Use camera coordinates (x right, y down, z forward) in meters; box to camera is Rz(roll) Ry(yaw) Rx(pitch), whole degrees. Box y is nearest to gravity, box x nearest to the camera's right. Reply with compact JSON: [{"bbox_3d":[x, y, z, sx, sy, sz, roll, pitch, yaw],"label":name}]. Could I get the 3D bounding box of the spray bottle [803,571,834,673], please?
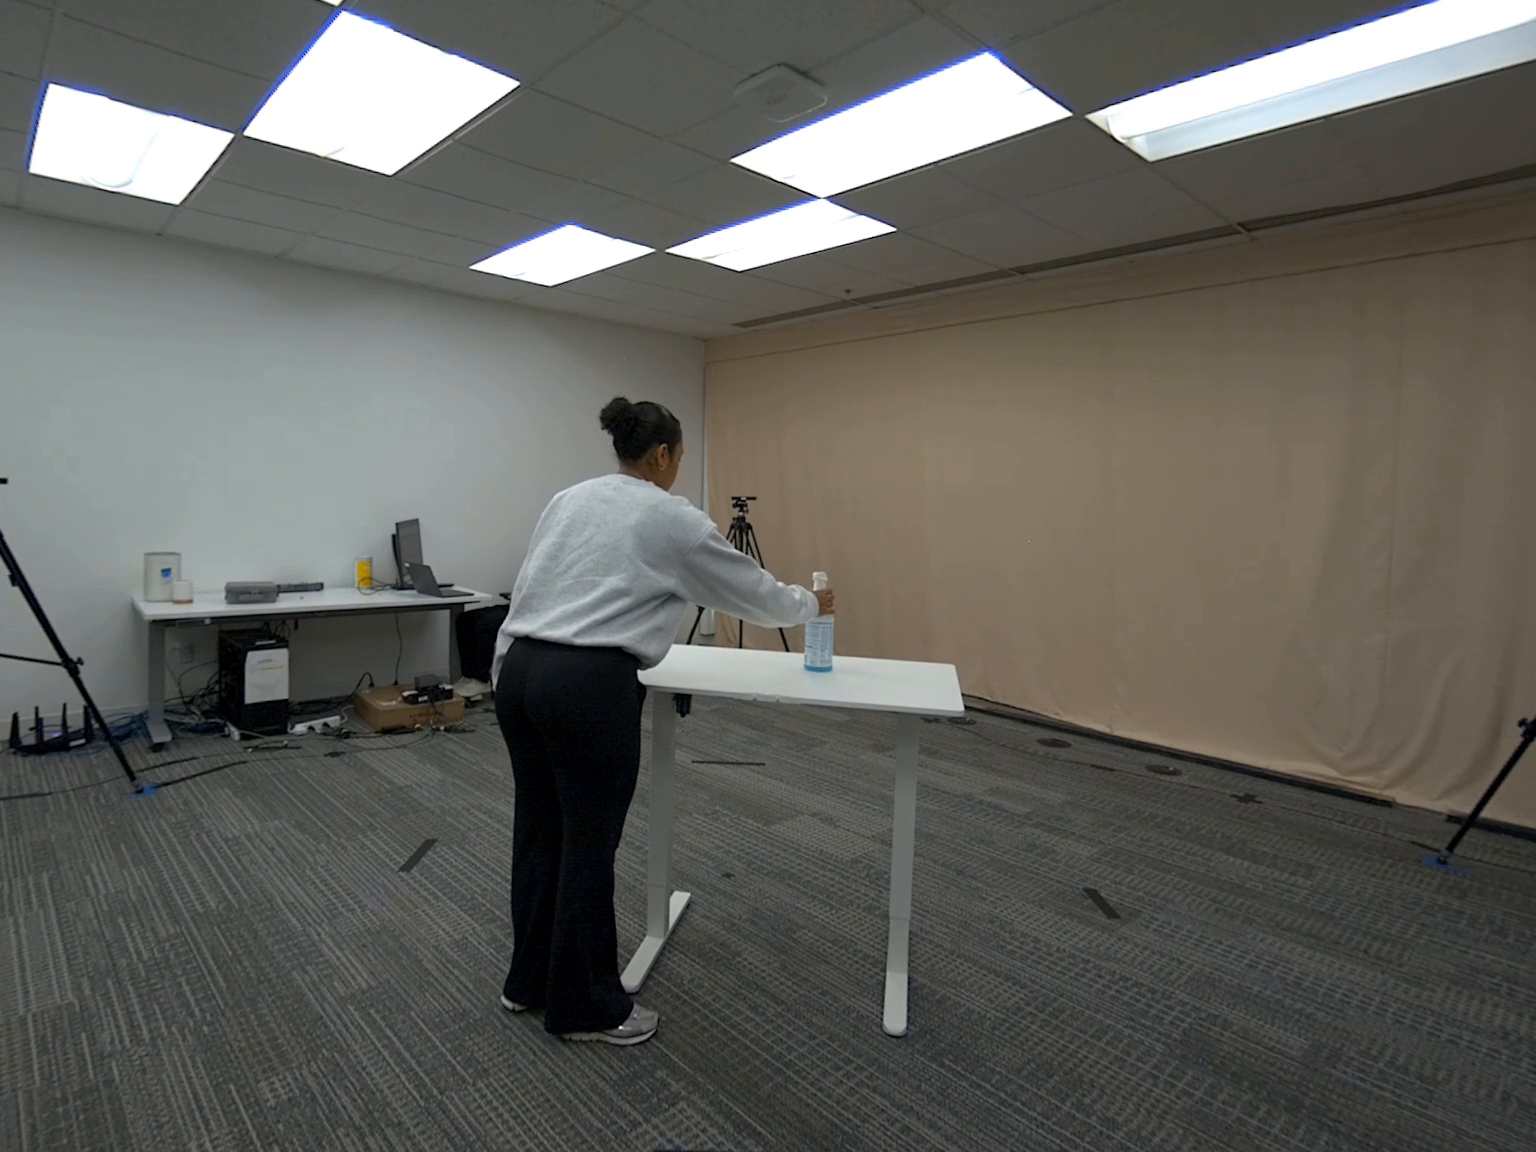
[{"bbox_3d":[0.147,0.137,2.529,0.088,0.296,0.089,-2,4,-38],"label":"spray bottle"}]
